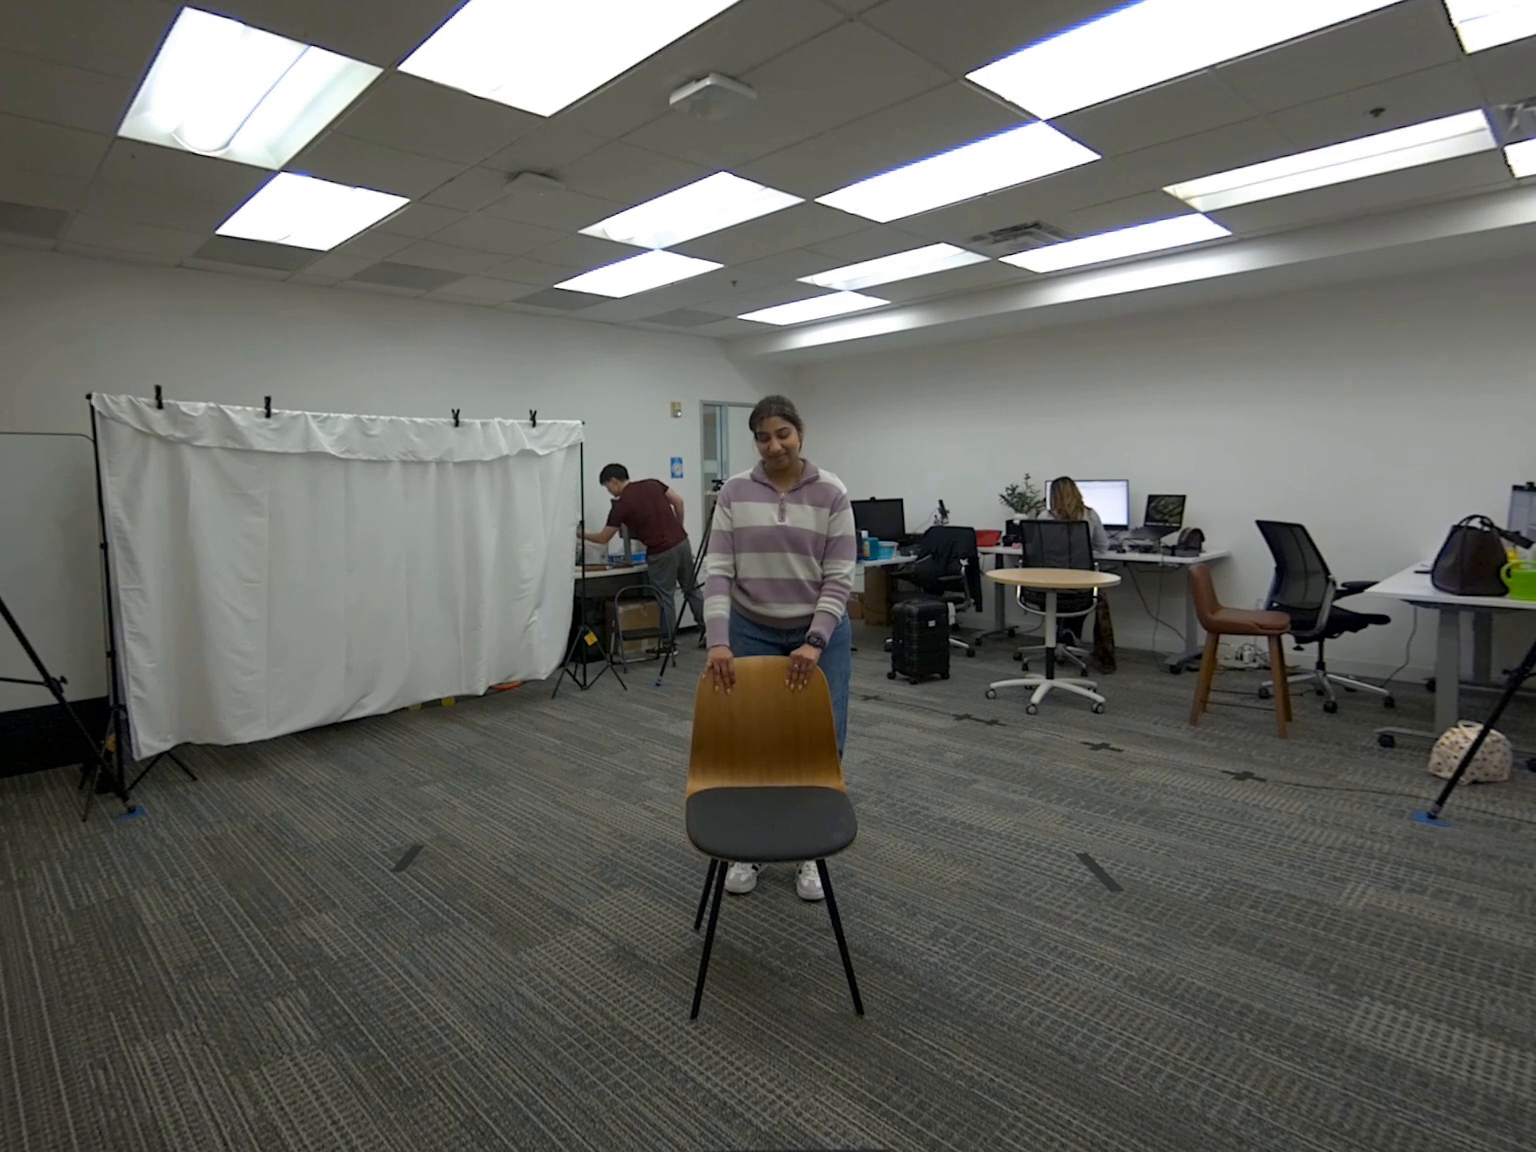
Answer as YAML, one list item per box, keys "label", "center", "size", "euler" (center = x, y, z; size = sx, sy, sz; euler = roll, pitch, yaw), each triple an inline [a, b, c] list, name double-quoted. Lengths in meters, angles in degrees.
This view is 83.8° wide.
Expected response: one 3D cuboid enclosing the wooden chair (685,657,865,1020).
- label: "wooden chair"
  center: [0.005, 0.700, 2.401]
  size: [0.478, 0.877, 0.524]
  euler: [-1, 0, -2]
